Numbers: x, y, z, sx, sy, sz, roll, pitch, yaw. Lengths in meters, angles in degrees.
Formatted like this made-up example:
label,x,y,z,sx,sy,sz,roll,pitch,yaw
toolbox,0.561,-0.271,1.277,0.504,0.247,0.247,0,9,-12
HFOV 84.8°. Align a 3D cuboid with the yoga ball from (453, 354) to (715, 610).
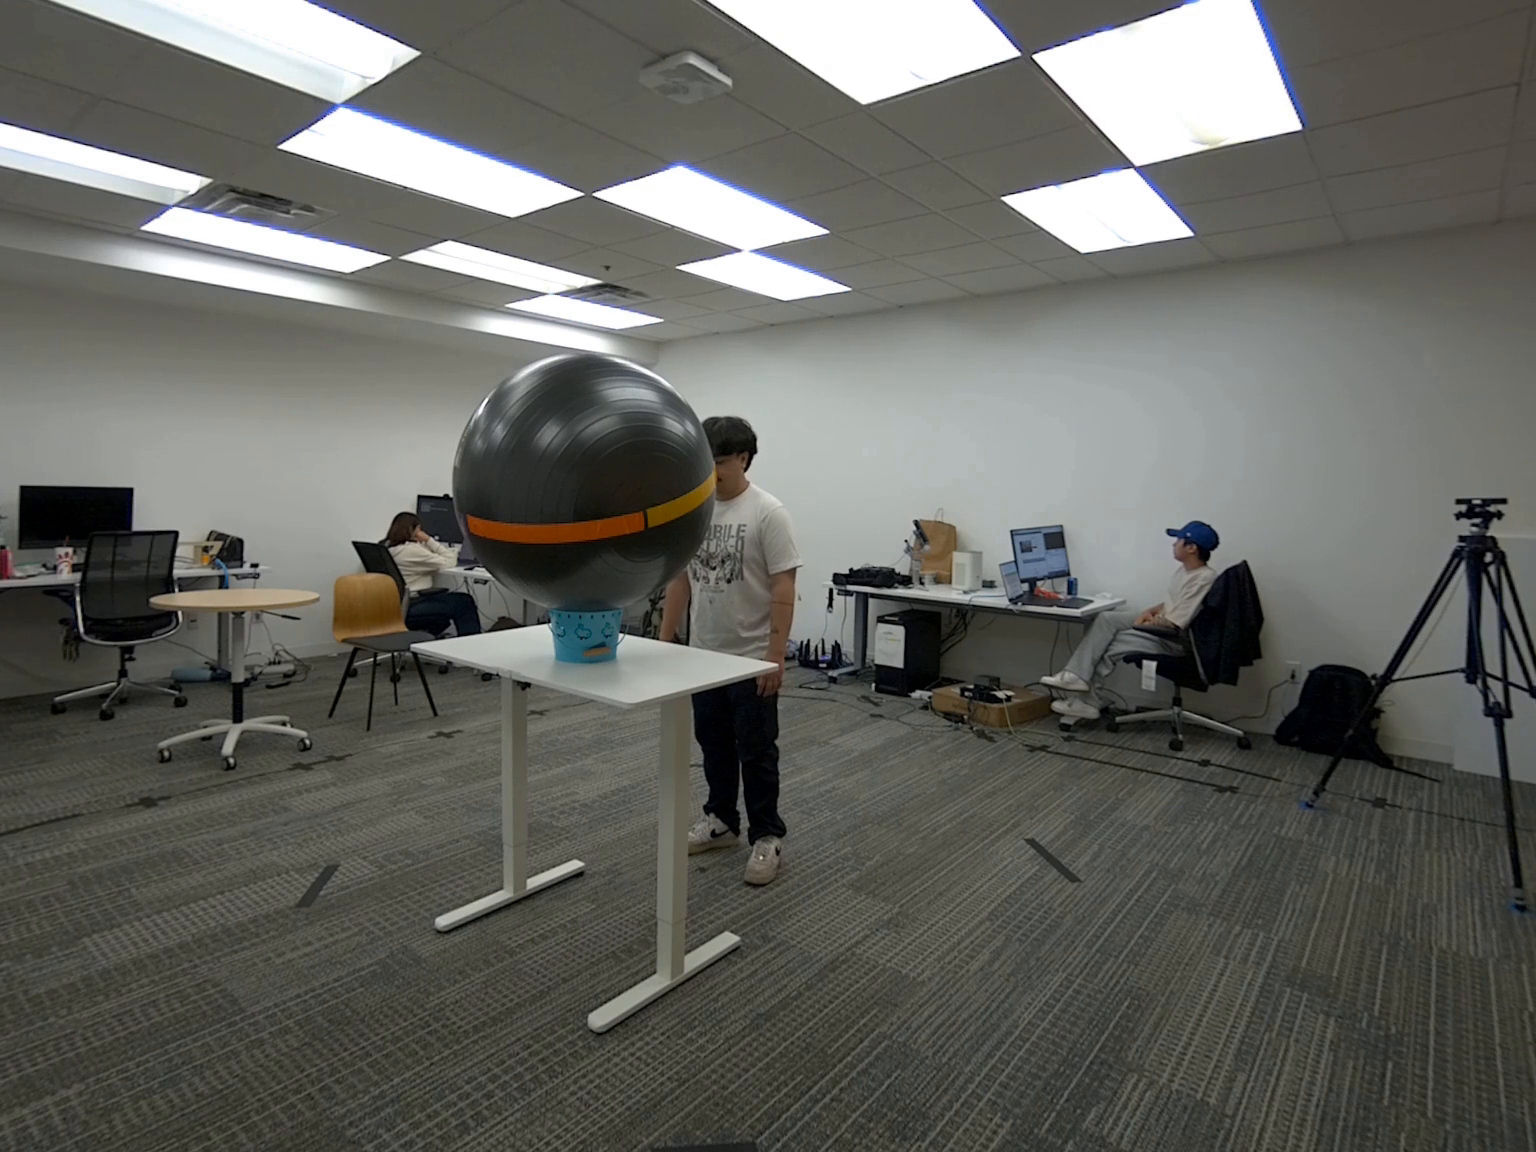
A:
label,x,y,z,sx,sy,sz,roll,pitch,yaw
yoga ball,-0.543,-0.260,2.500,0.757,0.755,0.762,1,4,-2
